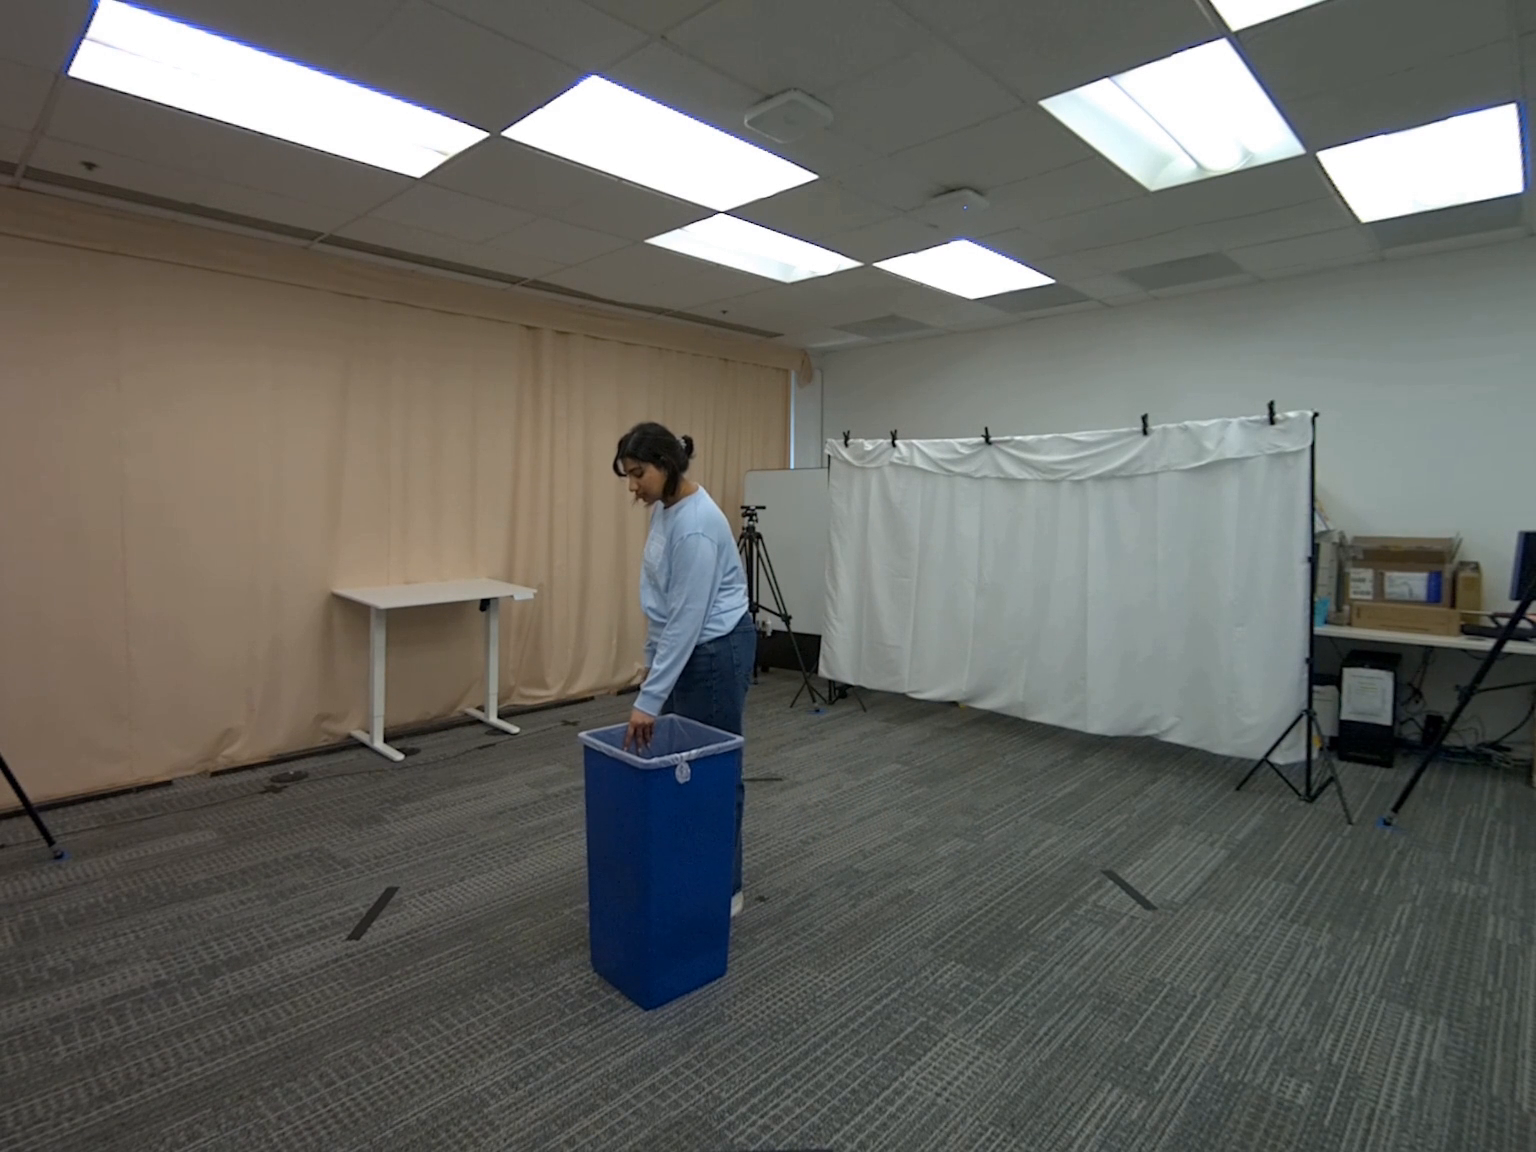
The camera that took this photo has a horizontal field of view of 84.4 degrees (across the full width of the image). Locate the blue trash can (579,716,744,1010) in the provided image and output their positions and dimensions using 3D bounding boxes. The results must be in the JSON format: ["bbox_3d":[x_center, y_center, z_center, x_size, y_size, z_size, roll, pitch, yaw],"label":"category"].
[{"bbox_3d":[-0.325,0.823,2.500,0.366,0.712,0.387,-3,6,-43],"label":"blue trash can"}]
